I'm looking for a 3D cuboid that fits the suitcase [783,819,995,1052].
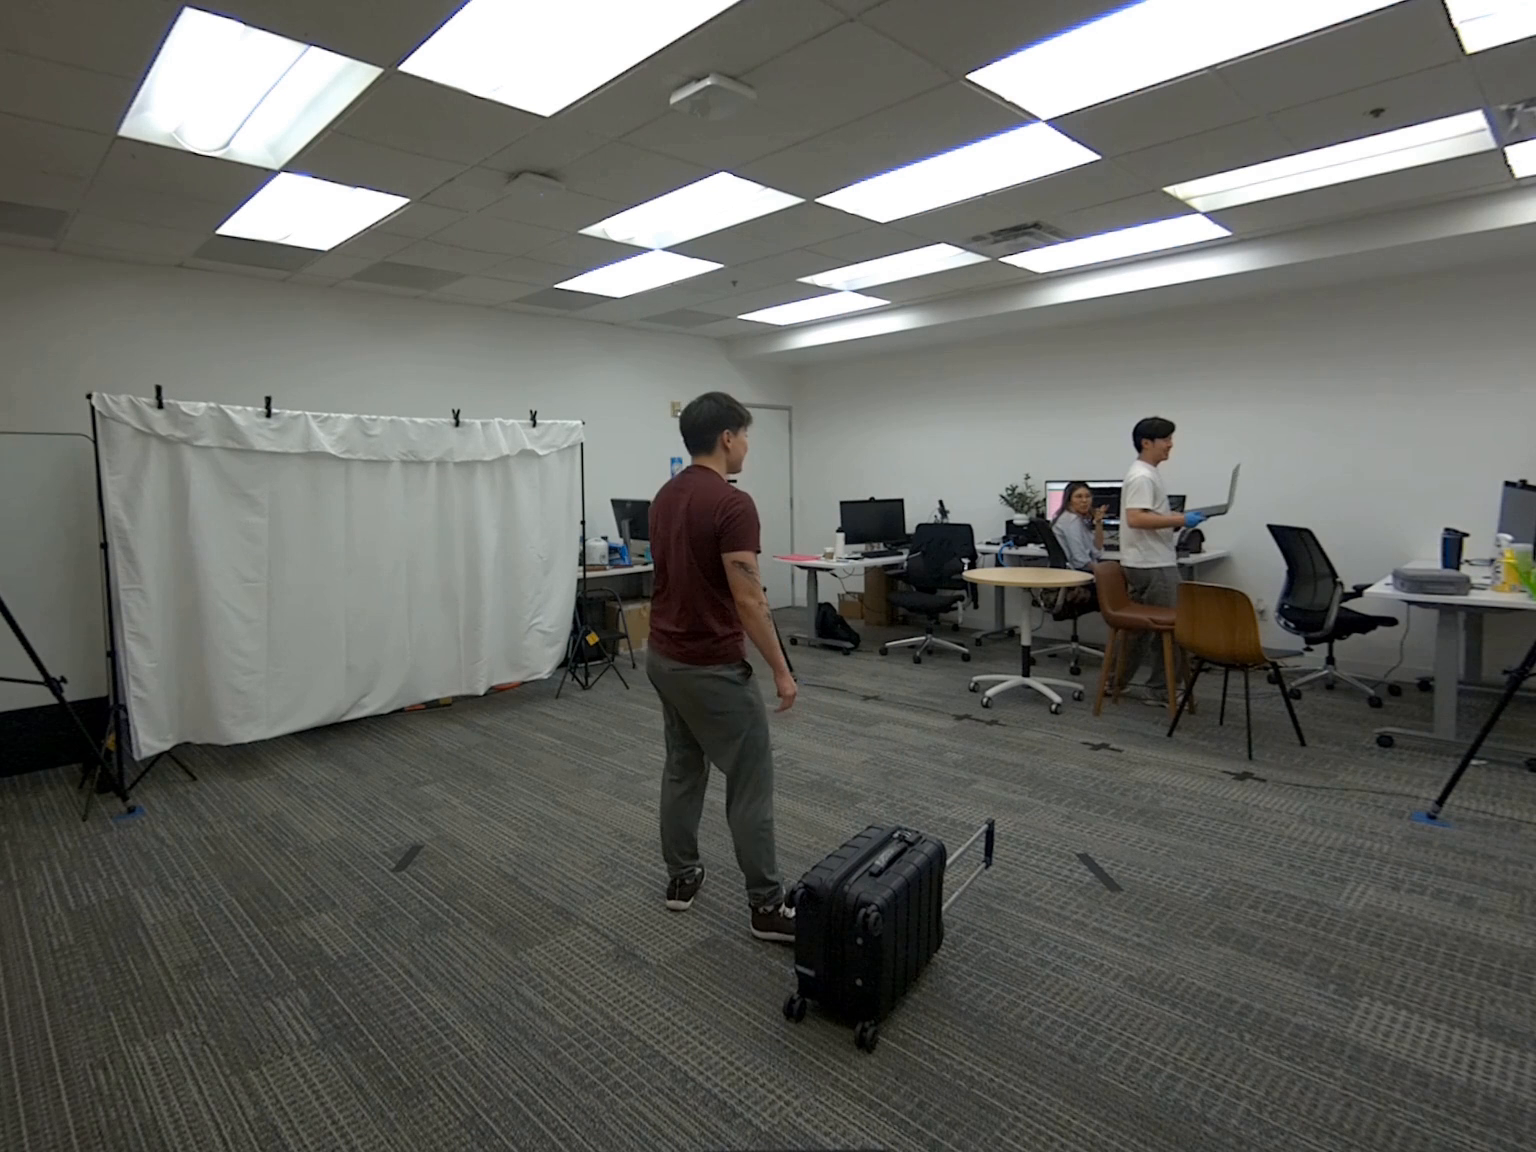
[{"bbox_3d":[0.402,0.920,2.519,0.264,0.382,0.957,4,7,31],"label":"suitcase"}]
